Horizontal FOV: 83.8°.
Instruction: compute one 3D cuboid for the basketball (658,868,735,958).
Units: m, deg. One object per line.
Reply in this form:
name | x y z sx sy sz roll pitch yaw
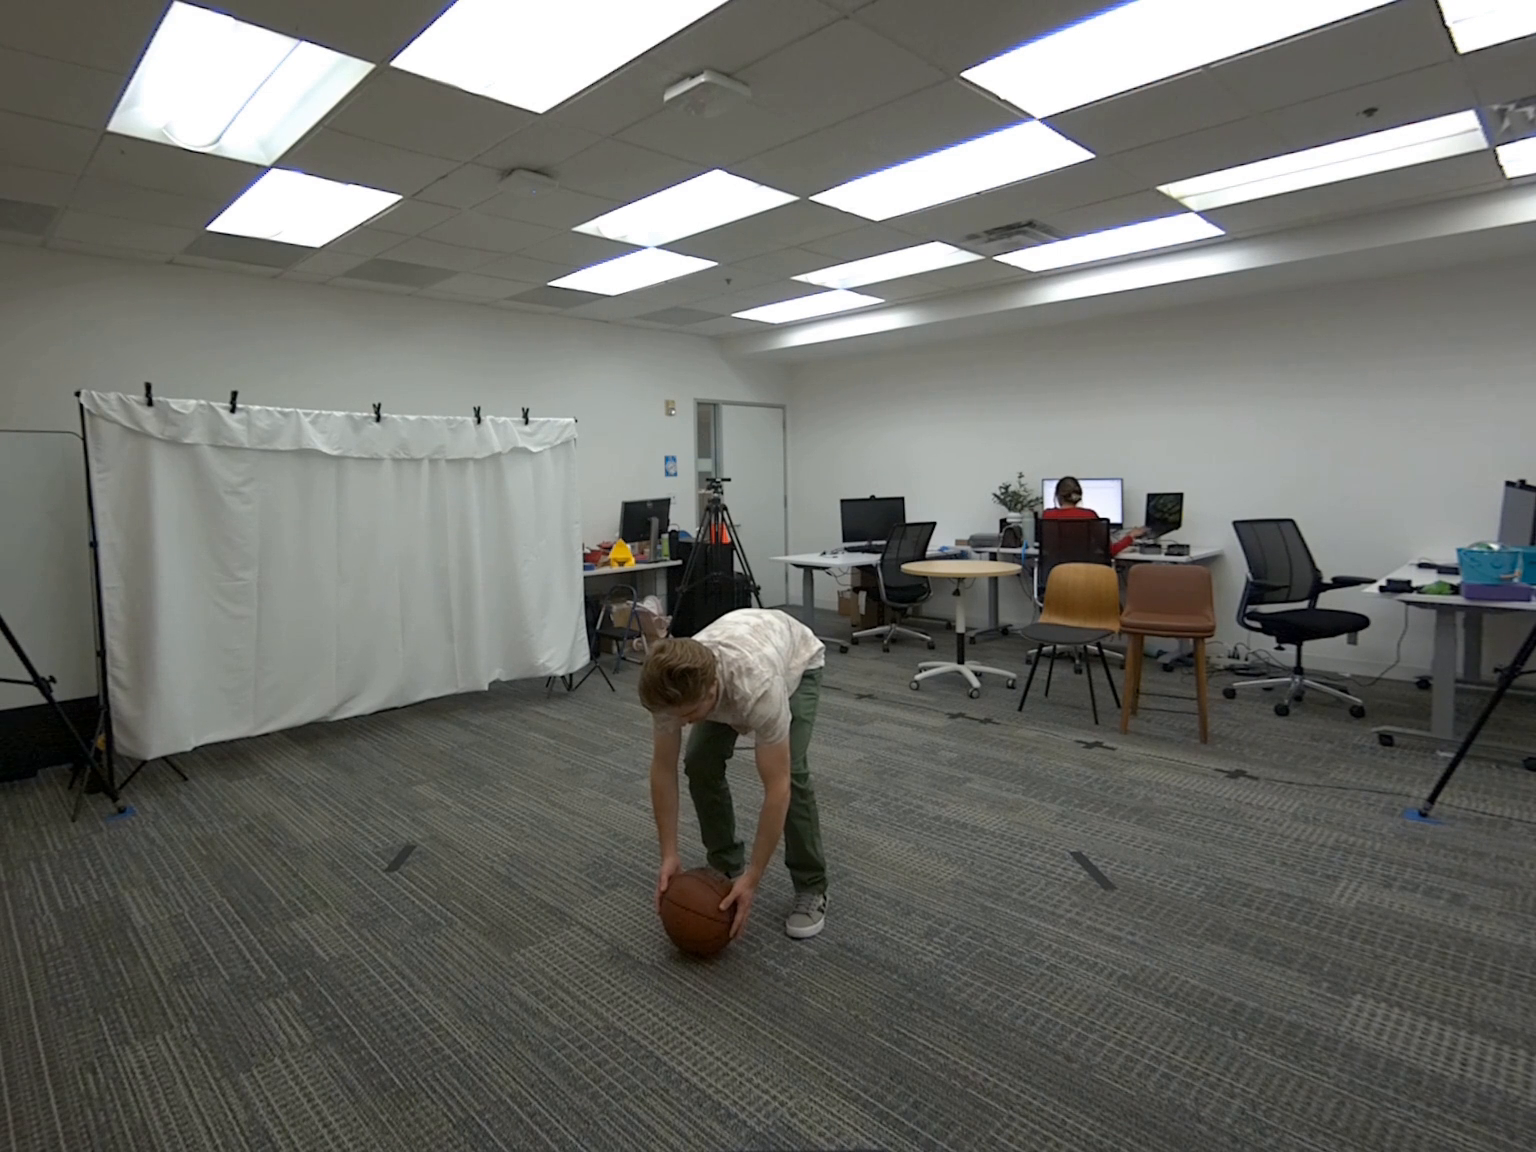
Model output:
basketball | -0.191 1.001 2.535 0.236 0.235 0.237 -1 5 -2
